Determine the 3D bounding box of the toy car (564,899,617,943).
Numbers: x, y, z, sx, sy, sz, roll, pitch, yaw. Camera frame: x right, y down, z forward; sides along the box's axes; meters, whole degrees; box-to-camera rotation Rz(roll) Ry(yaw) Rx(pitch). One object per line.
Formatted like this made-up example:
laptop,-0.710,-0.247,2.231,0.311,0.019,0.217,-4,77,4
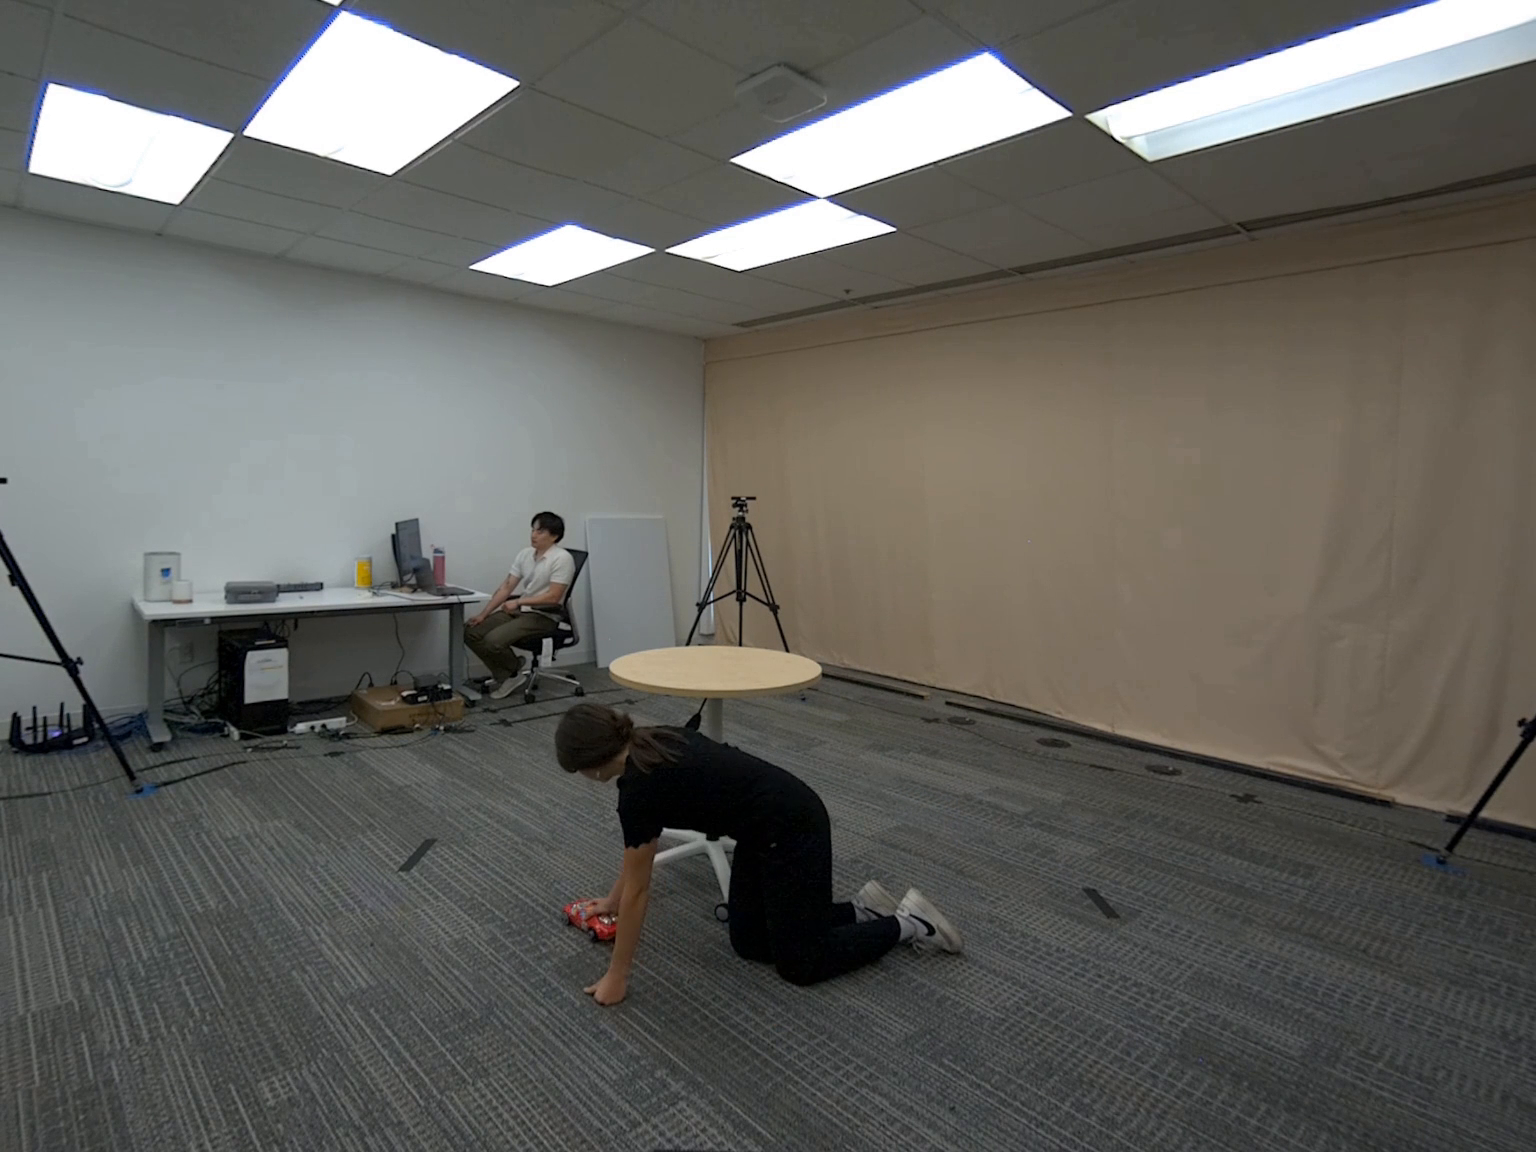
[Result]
toy car,-0.558,1.106,2.692,0.127,0.083,0.260,-2,-3,-44
